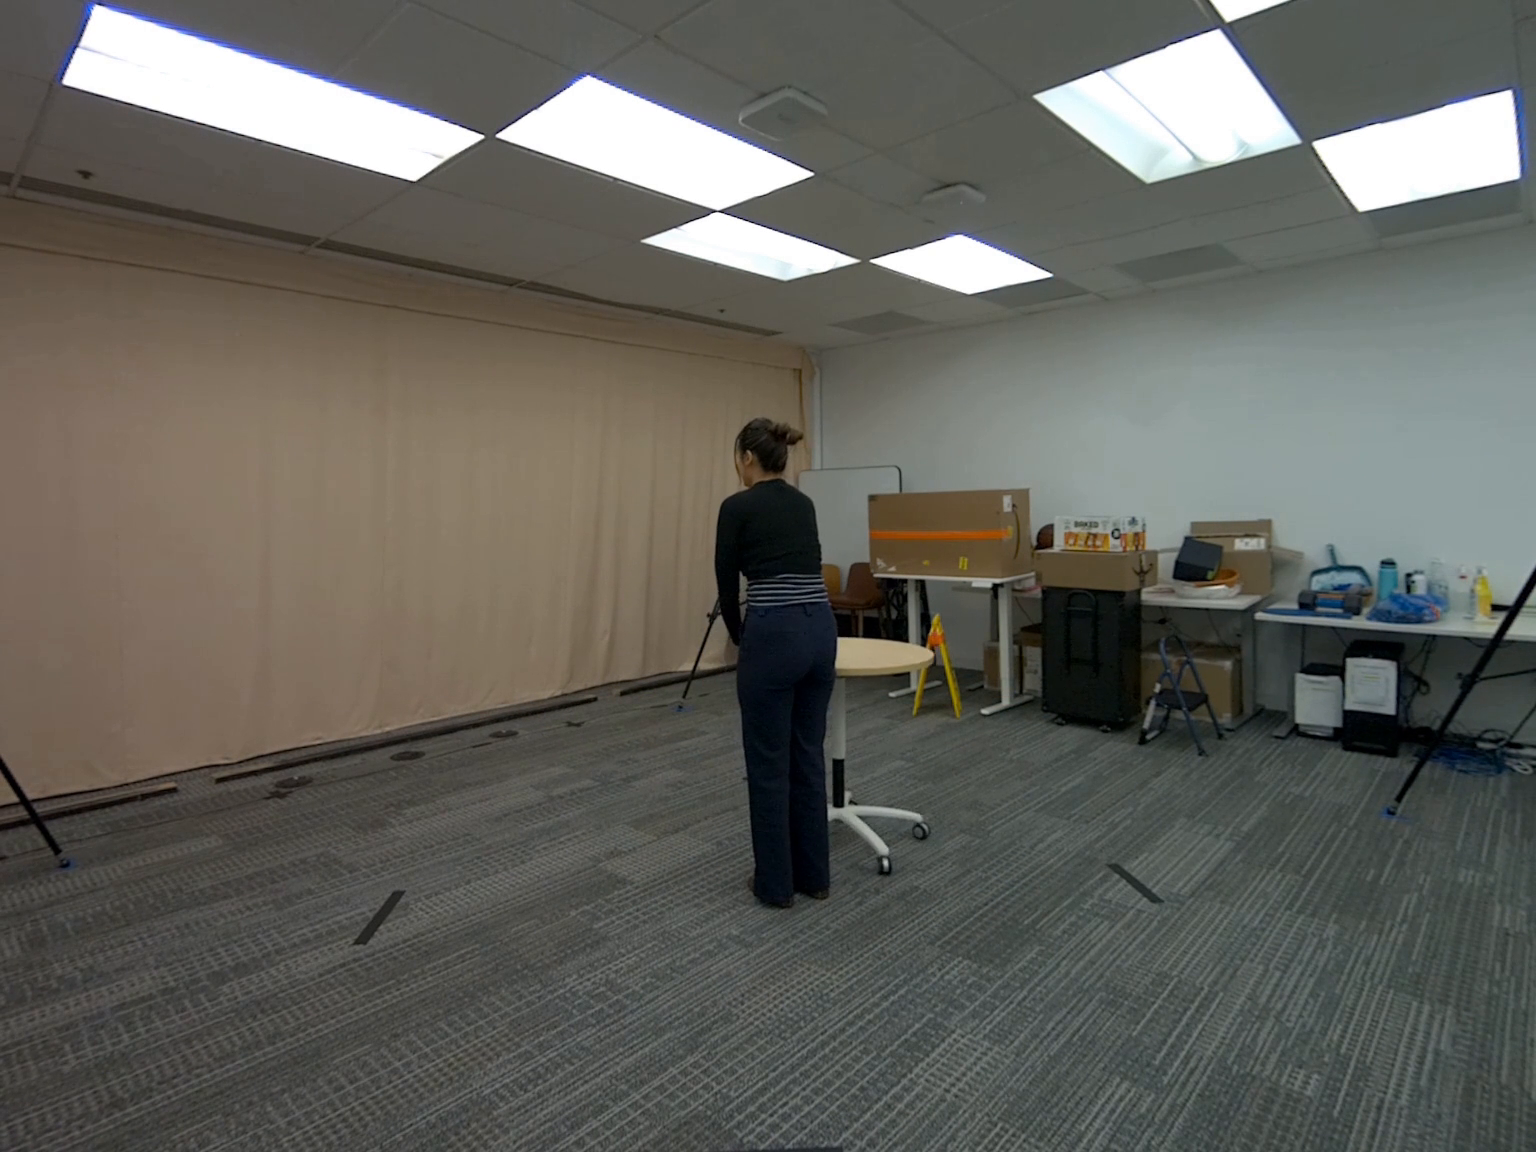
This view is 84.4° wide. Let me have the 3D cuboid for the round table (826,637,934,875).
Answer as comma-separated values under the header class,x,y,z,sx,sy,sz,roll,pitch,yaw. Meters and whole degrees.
class,x,y,z,sx,sy,sz,roll,pitch,yaw
round table,0.291,0.703,3.466,0.763,0.792,0.766,0,3,-2
